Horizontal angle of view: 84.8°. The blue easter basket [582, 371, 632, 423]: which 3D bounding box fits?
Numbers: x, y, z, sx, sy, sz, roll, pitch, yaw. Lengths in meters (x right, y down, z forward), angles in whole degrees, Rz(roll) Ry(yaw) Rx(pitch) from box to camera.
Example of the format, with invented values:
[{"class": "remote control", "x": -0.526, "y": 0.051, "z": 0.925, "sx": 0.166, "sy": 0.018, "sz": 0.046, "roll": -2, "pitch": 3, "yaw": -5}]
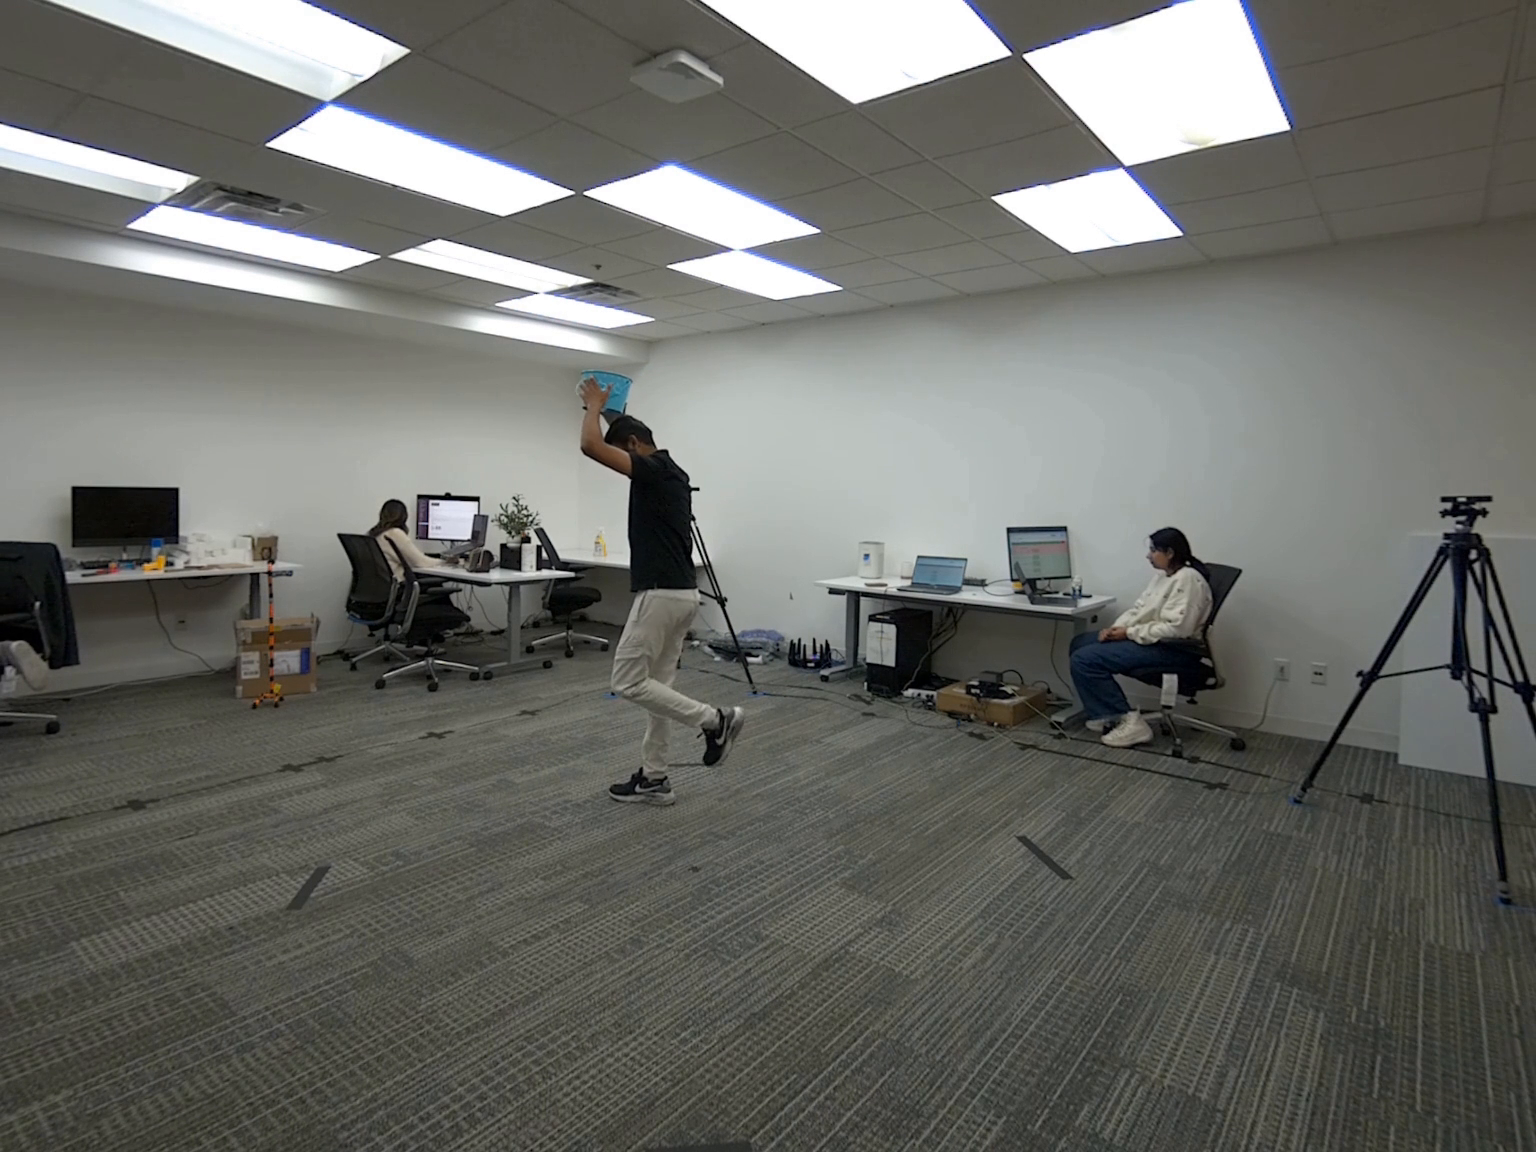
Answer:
[{"class": "blue easter basket", "x": -0.746, "y": -0.816, "z": 3.779, "sx": 0.243, "sy": 0.156, "sz": 0.244, "roll": 6, "pitch": 0, "yaw": -2}]
